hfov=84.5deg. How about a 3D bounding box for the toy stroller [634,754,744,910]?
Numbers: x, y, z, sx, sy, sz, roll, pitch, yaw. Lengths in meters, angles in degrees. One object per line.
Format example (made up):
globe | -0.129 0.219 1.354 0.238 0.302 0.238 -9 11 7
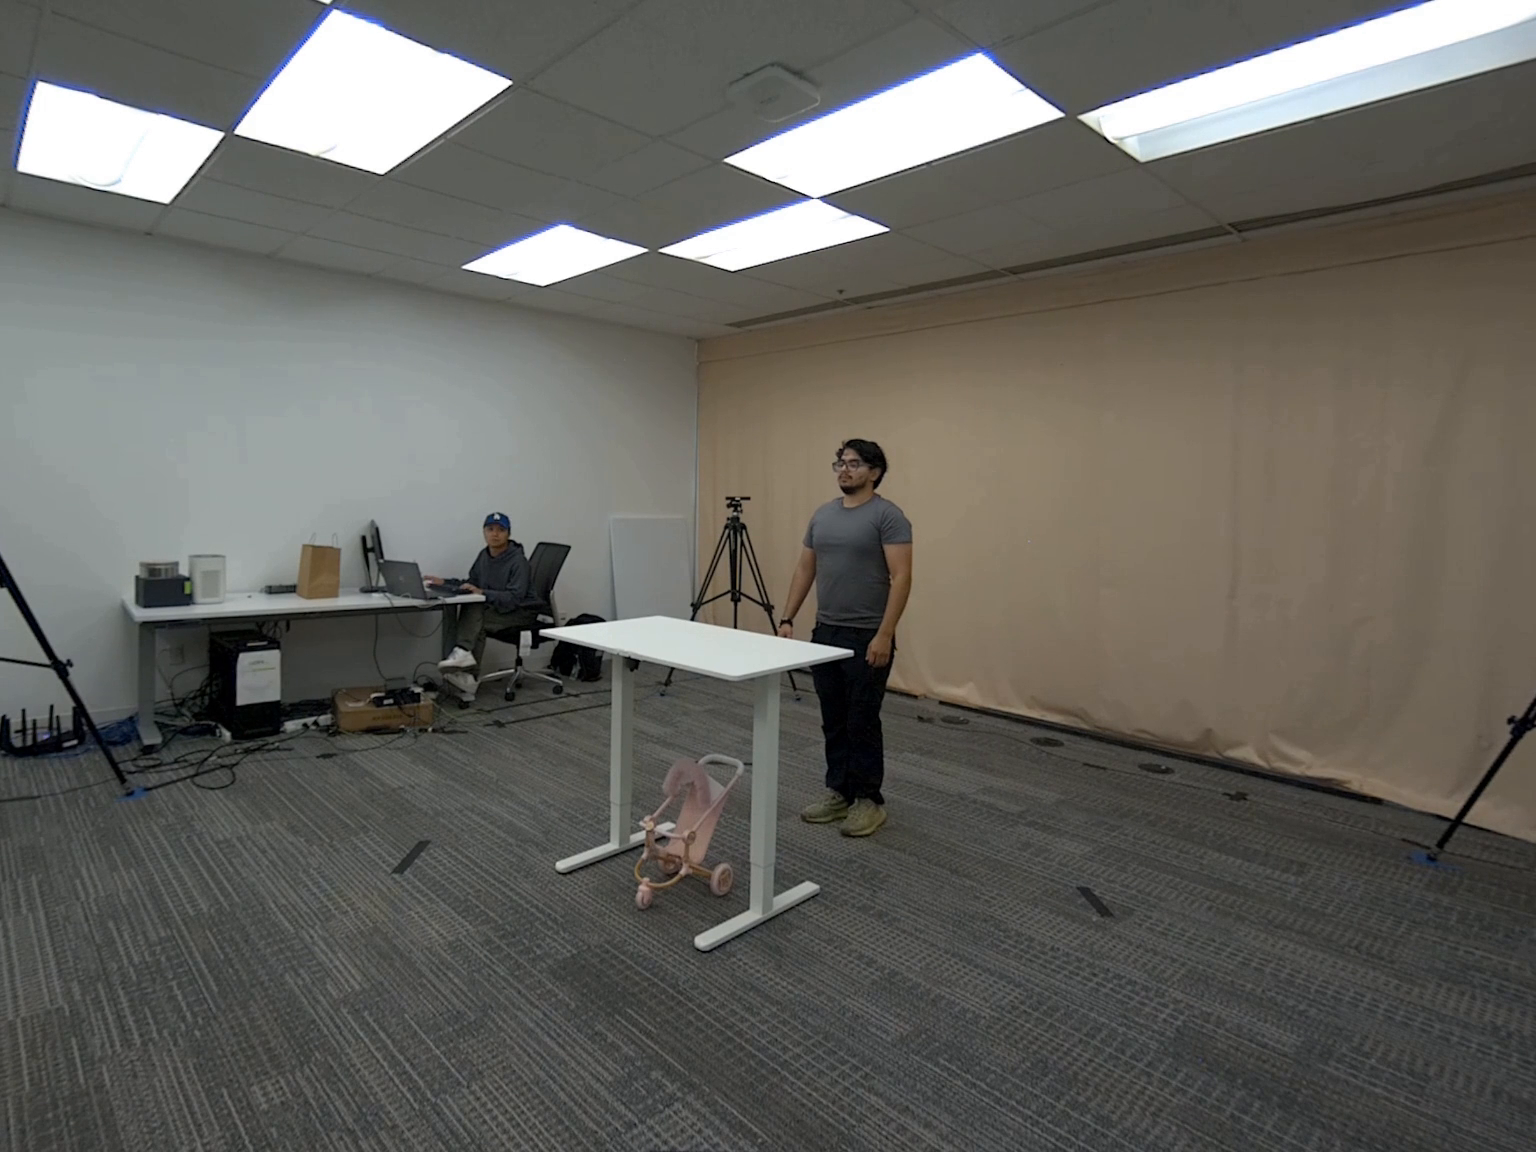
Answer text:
toy stroller | -0.304 0.895 2.974 0.288 0.538 0.331 4 -12 44
